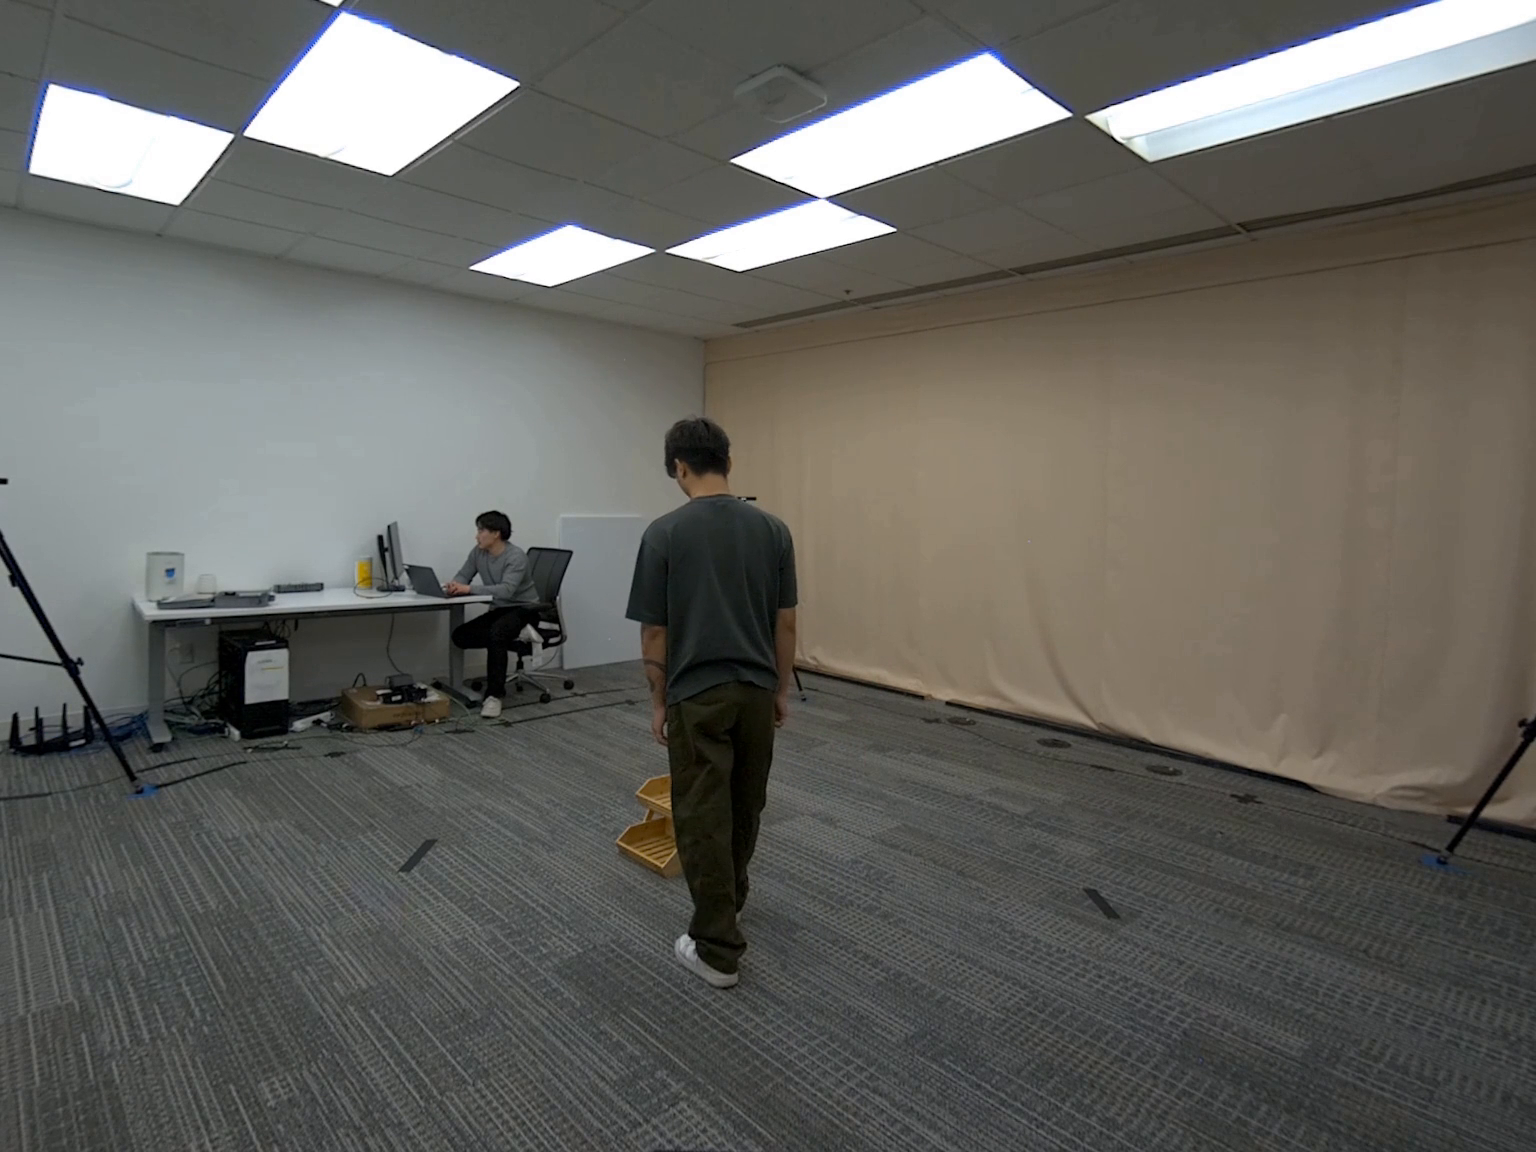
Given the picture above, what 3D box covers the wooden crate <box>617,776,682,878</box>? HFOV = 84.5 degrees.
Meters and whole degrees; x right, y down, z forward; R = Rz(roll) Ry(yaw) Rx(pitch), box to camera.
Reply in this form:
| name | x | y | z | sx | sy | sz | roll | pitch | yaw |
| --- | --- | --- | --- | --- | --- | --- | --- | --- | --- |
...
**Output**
| name | x | y | z | sx | sy | sz | roll | pitch | yaw |
| --- | --- | --- | --- | --- | --- | --- | --- | --- | --- |
| wooden crate | -0.387 | 0.953 | 3.257 | 0.295 | 0.272 | 0.333 | -2 | 6 | -43 |
